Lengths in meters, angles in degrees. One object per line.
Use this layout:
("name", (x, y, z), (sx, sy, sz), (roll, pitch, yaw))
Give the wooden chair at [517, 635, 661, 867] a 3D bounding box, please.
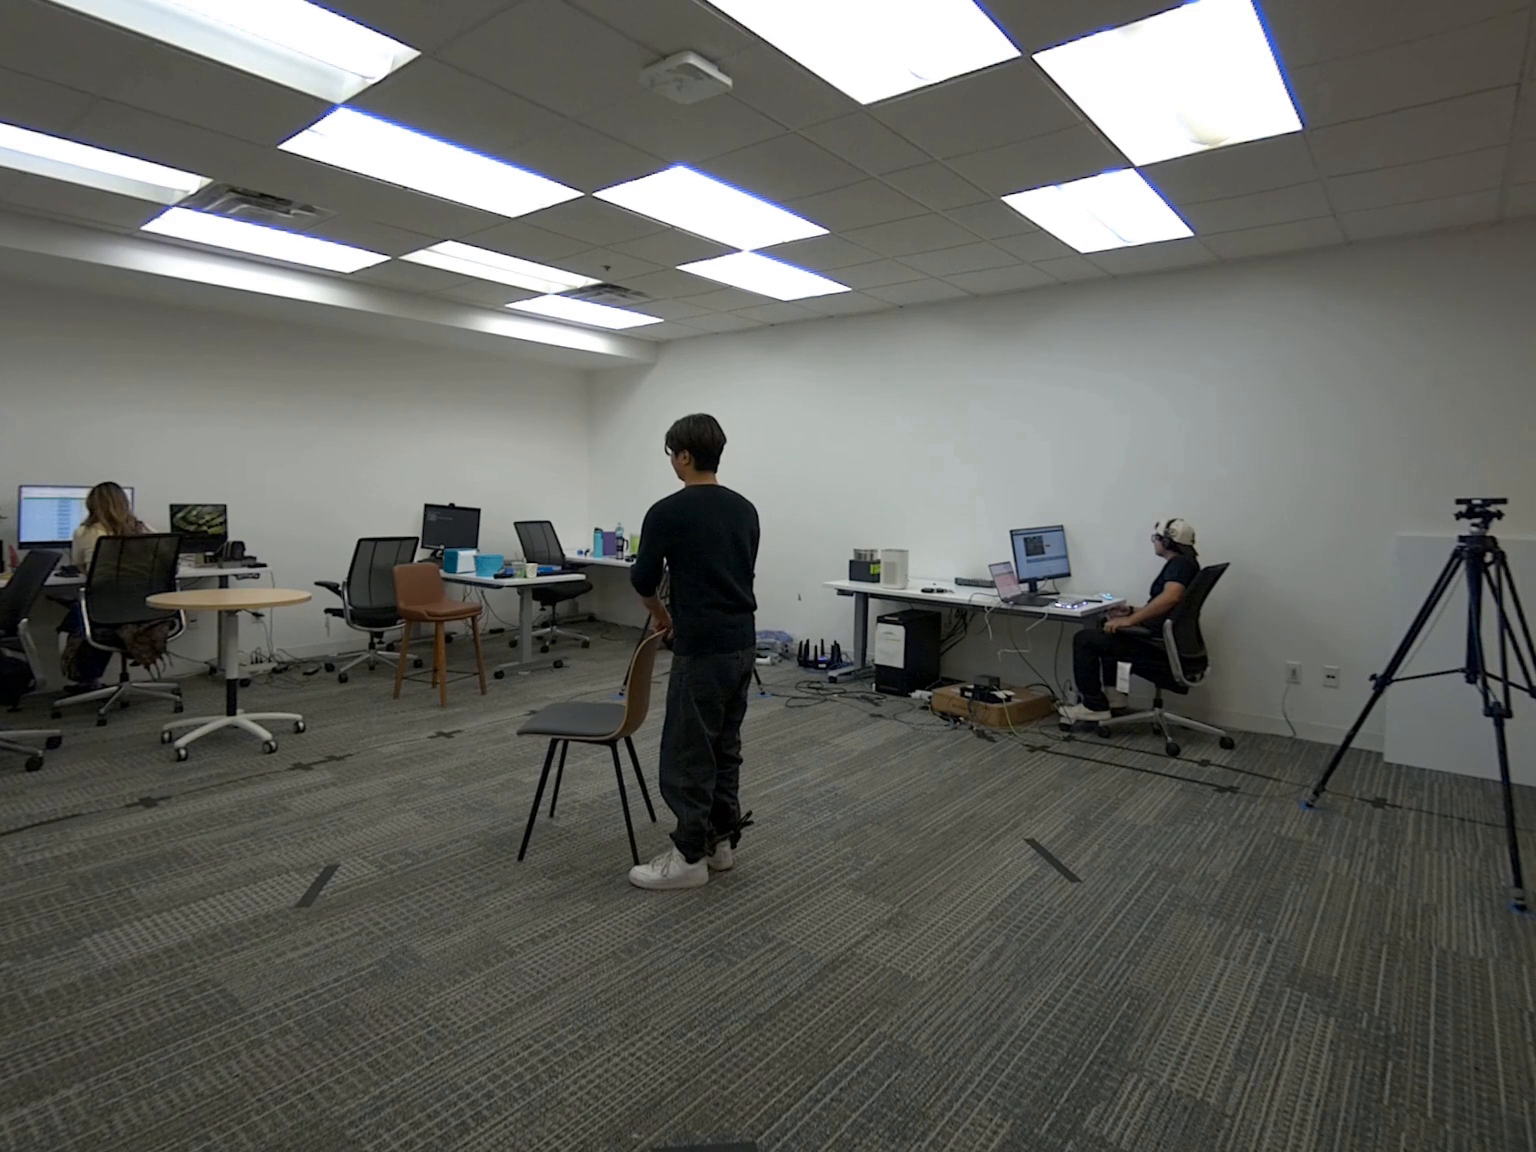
("wooden chair", (-0.706, 0.615, 3.323), (0.525, 0.875, 0.478), (6, 4, 2))
